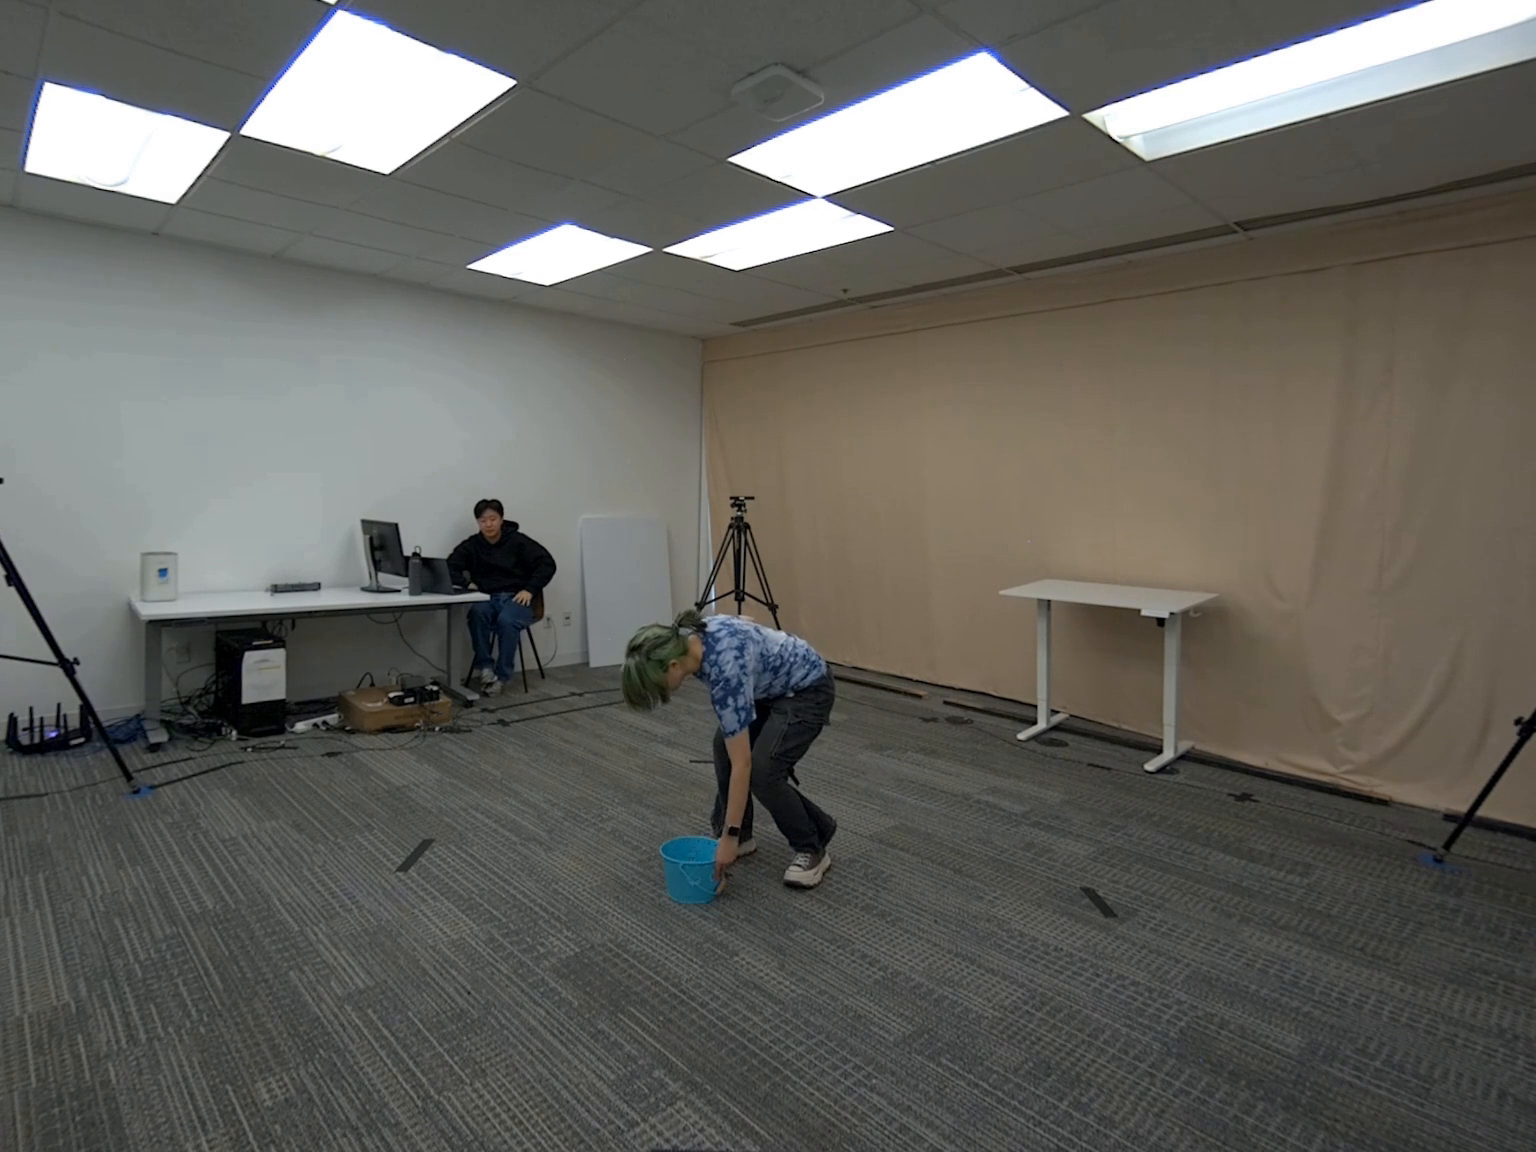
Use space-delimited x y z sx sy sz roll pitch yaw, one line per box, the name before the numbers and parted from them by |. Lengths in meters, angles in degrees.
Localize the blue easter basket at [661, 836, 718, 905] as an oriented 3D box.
blue easter basket | -0.274 1.037 2.958 0.243 0.155 0.244 1 5 -1
